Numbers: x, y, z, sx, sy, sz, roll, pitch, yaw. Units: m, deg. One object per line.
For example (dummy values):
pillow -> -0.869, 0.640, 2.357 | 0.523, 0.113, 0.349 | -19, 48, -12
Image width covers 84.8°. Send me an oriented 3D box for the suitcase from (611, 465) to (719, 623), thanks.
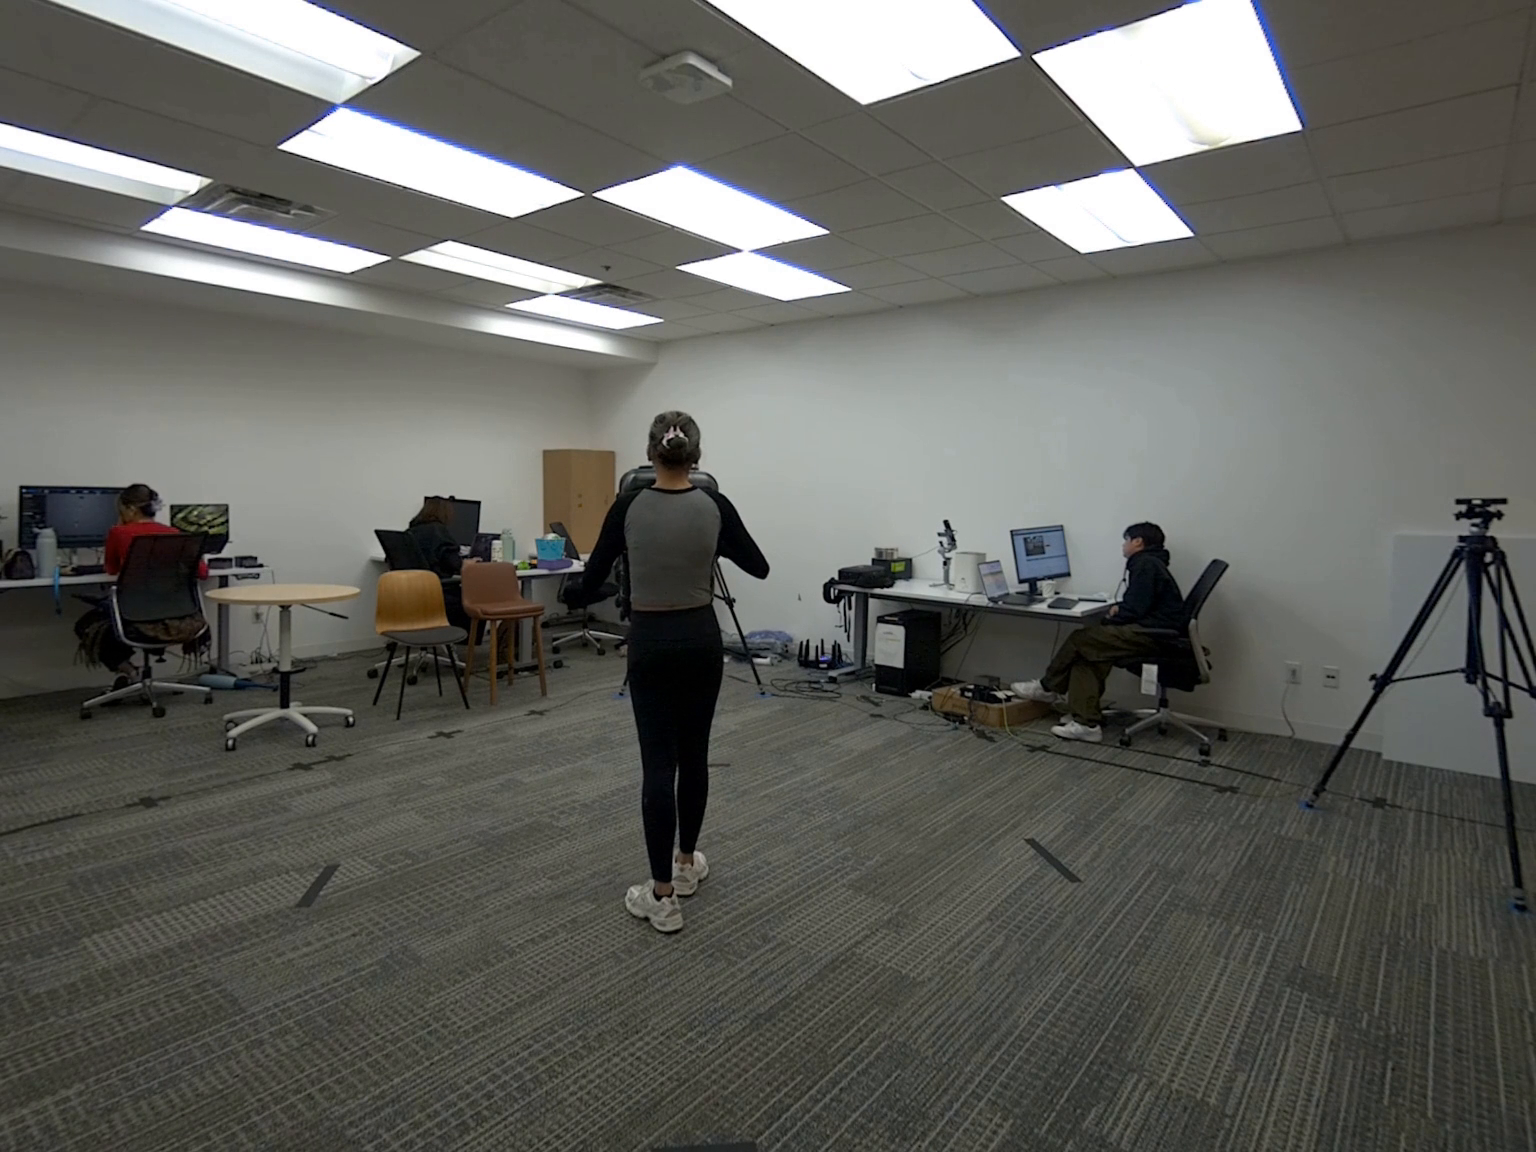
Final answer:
suitcase -> -0.376, -0.126, 3.098 | 0.372, 0.543, 0.253 | 1, 12, -8
